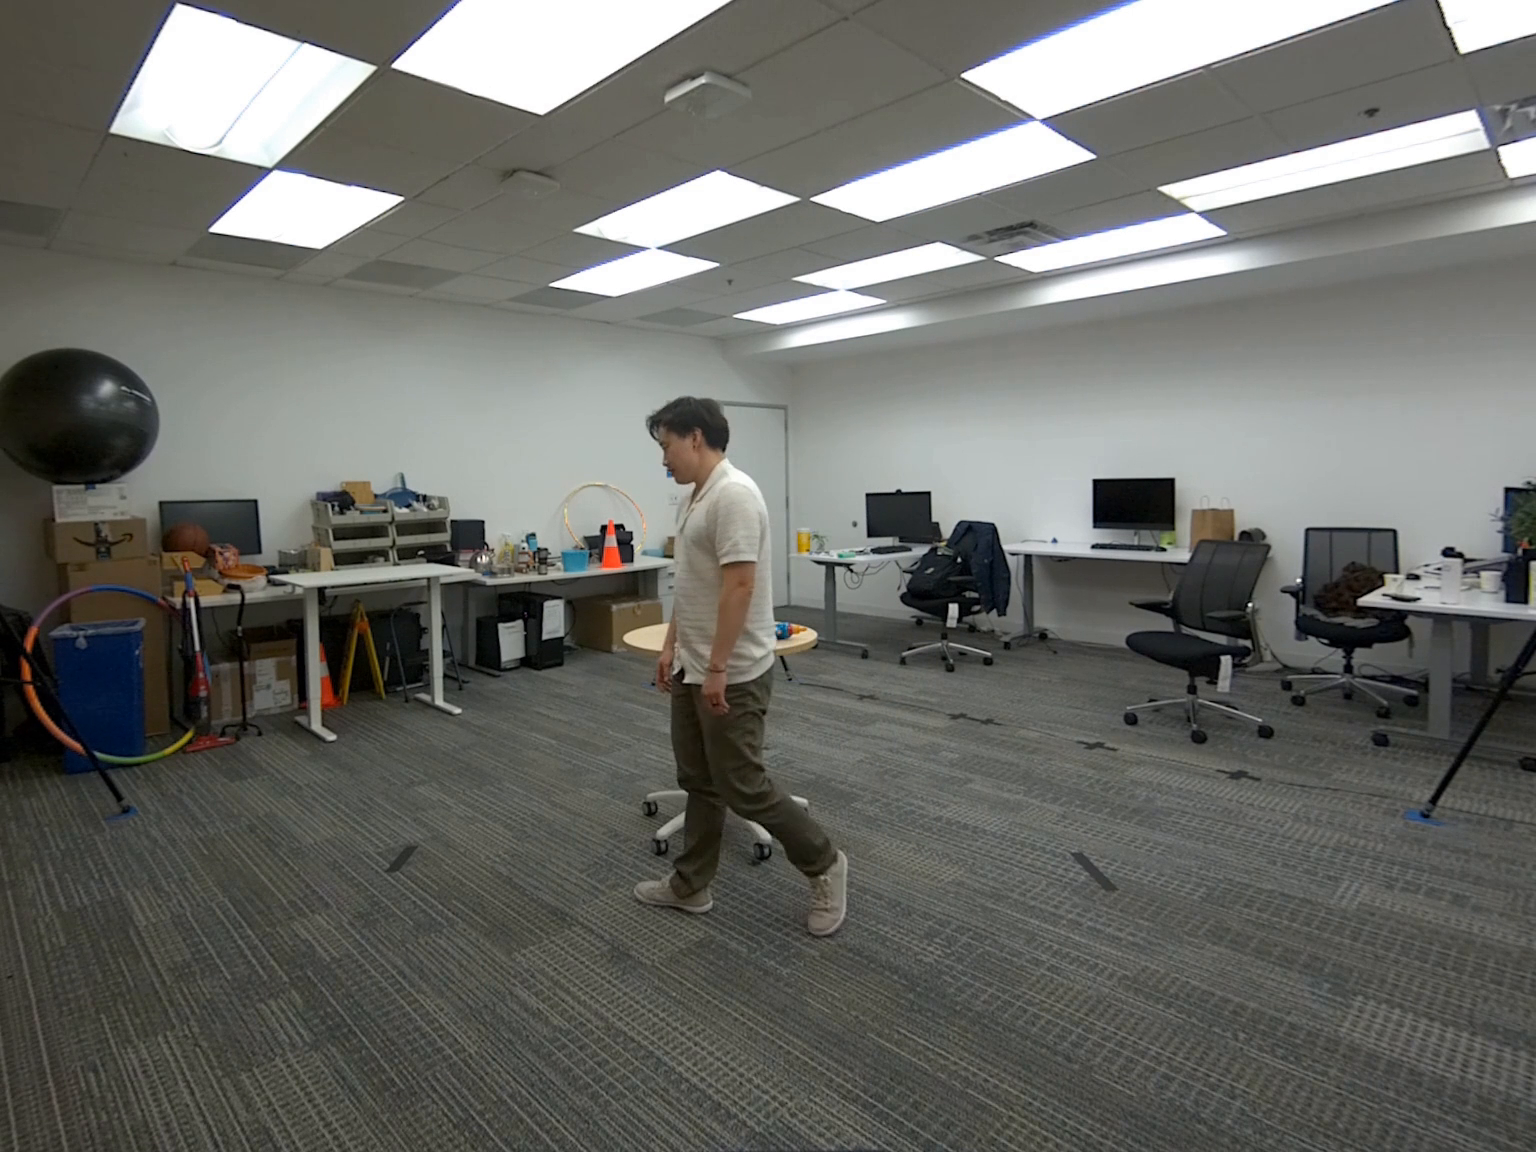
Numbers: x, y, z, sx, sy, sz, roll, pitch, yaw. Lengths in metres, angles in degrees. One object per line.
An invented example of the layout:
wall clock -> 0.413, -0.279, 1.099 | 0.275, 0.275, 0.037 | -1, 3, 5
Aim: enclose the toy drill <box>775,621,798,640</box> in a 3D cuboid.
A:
toy drill -> 0.059, 0.212, 3.219 | 0.173, 0.061, 0.143 | -5, 4, 29
